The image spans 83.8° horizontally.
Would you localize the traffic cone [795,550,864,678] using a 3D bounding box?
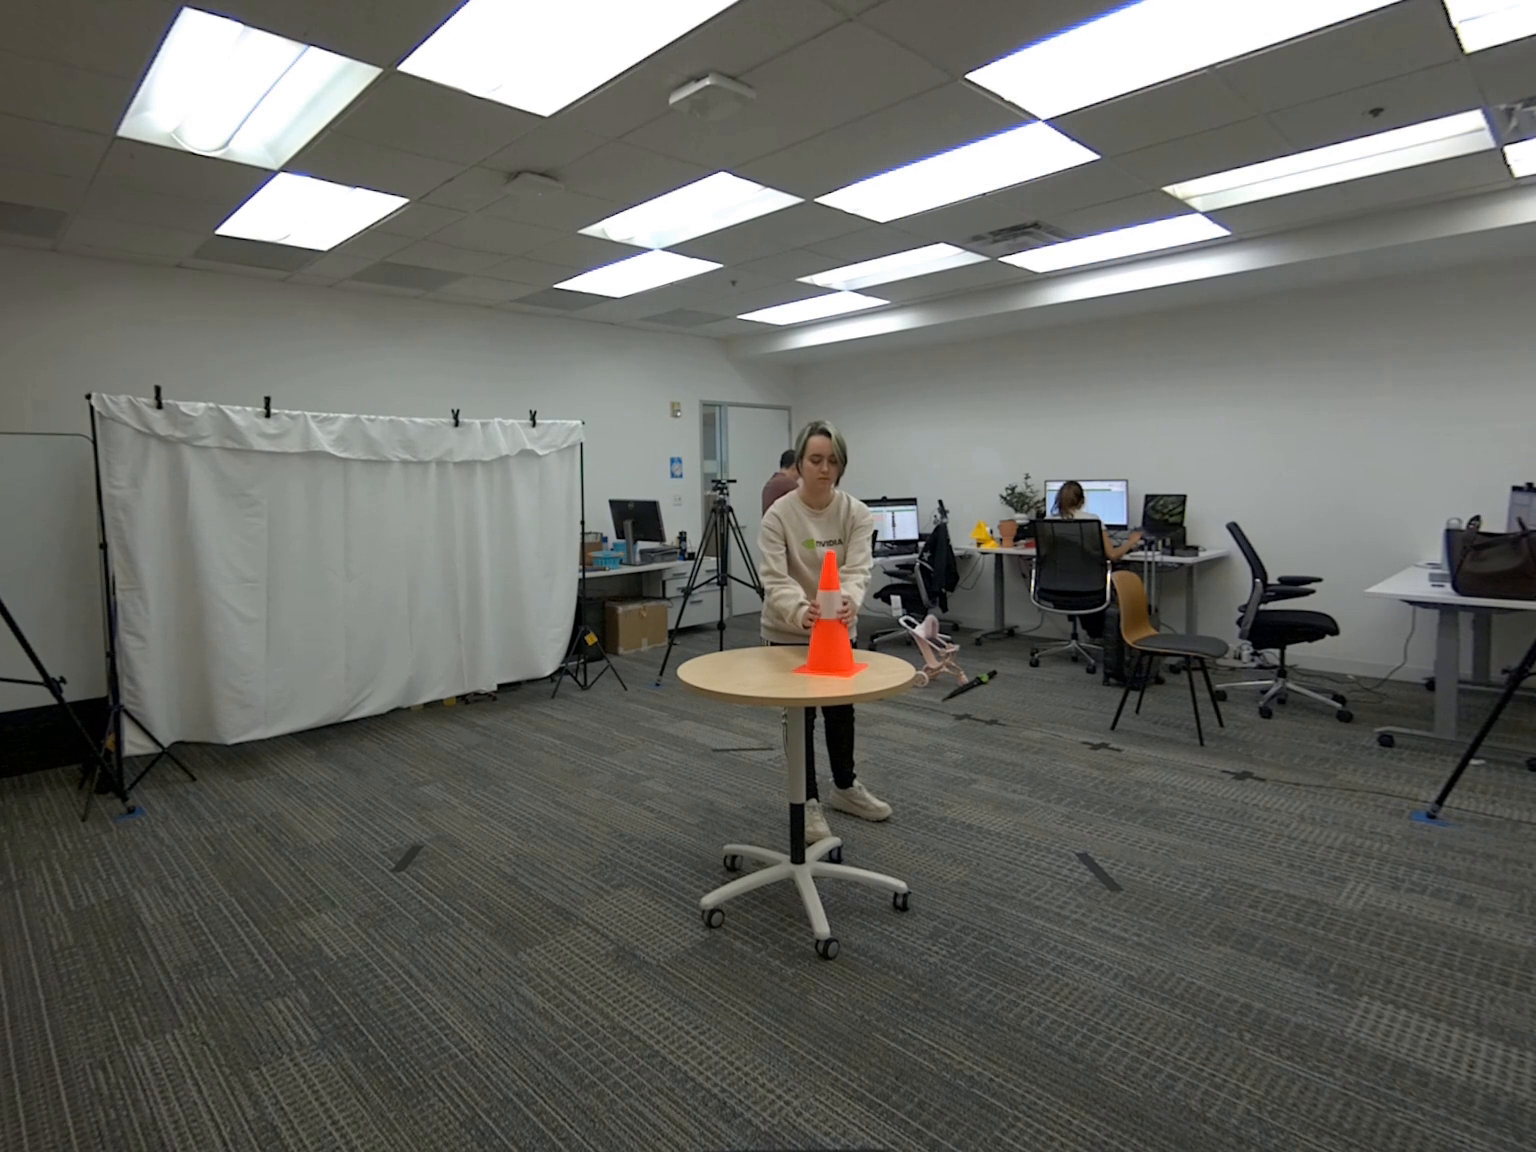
[{"bbox_3d":[0.197,0.116,2.743,0.208,0.382,0.201,0,4,25],"label":"traffic cone"}]
